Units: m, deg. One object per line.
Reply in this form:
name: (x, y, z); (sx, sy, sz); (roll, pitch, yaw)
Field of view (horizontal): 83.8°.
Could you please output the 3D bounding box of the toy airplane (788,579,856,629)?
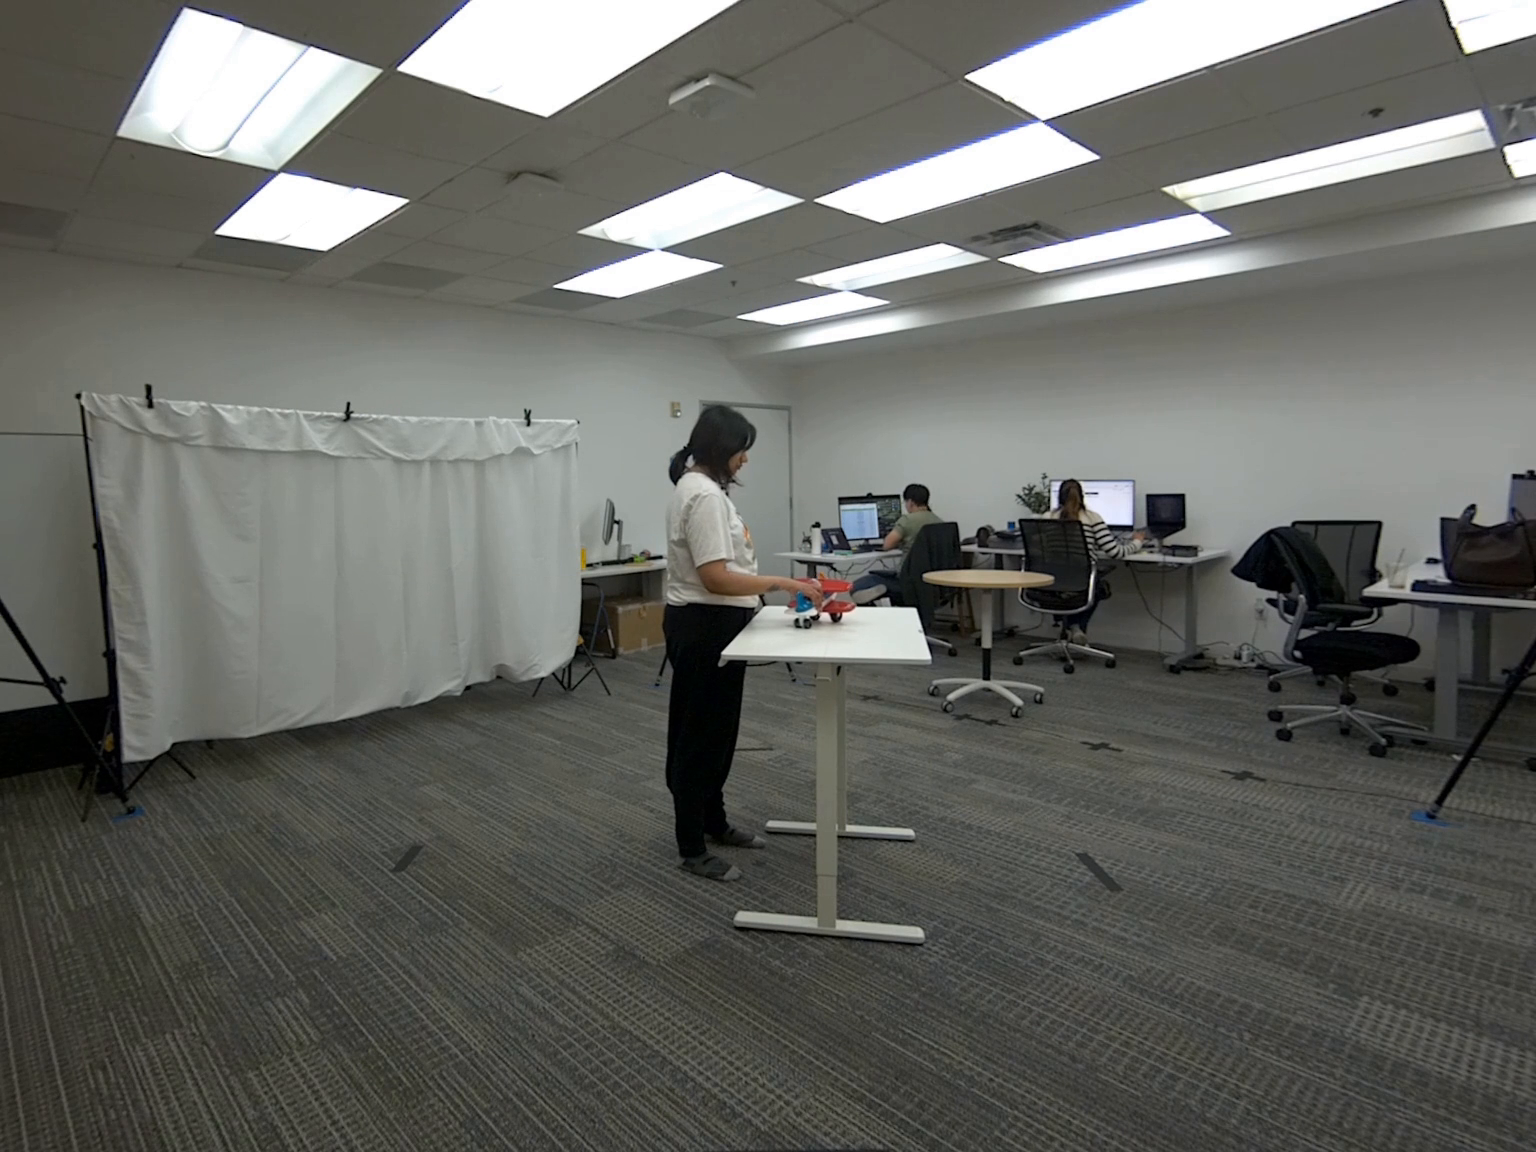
toy airplane: (0.183, 0.094, 3.005); (0.252, 0.156, 0.259); (0, 5, 3)
